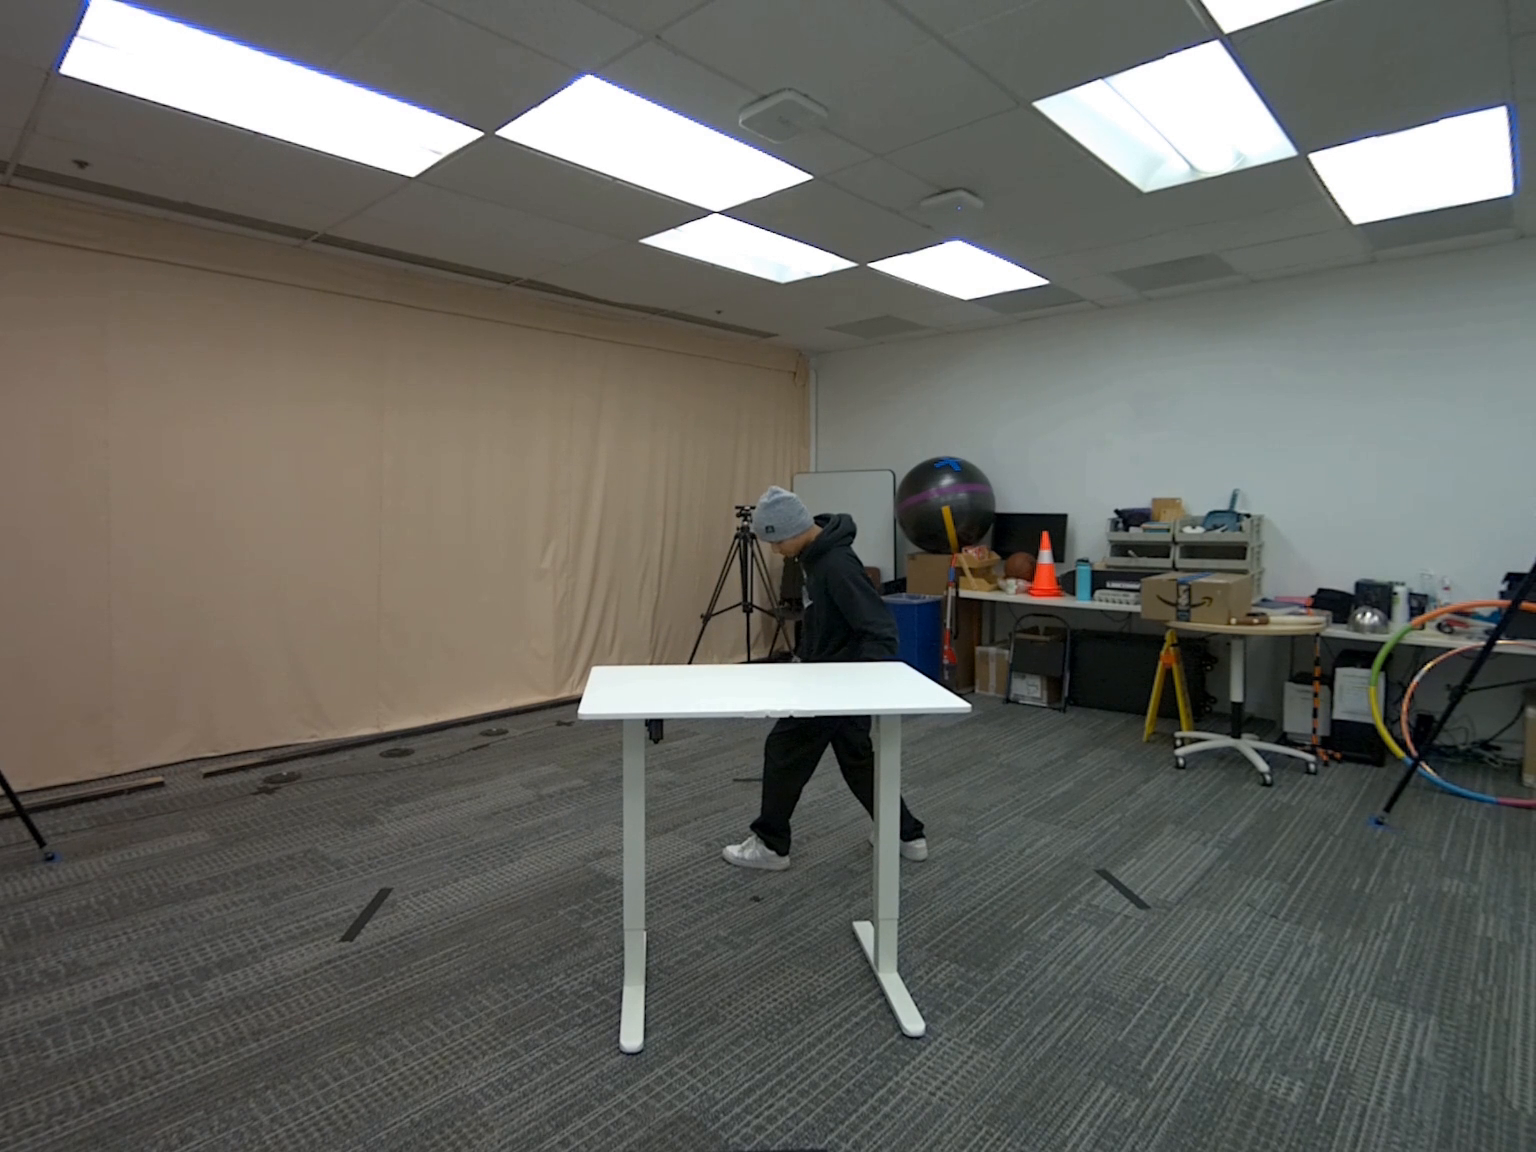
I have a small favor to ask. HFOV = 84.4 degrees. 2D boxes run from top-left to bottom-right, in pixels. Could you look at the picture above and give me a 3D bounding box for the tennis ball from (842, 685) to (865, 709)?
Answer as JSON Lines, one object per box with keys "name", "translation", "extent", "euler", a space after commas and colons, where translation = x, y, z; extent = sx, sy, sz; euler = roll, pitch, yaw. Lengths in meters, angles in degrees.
{"name": "tennis ball", "translation": [0.294, 0.418, 2.937], "extent": [0.066, 0.066, 0.067], "euler": [0, 4, -2]}
